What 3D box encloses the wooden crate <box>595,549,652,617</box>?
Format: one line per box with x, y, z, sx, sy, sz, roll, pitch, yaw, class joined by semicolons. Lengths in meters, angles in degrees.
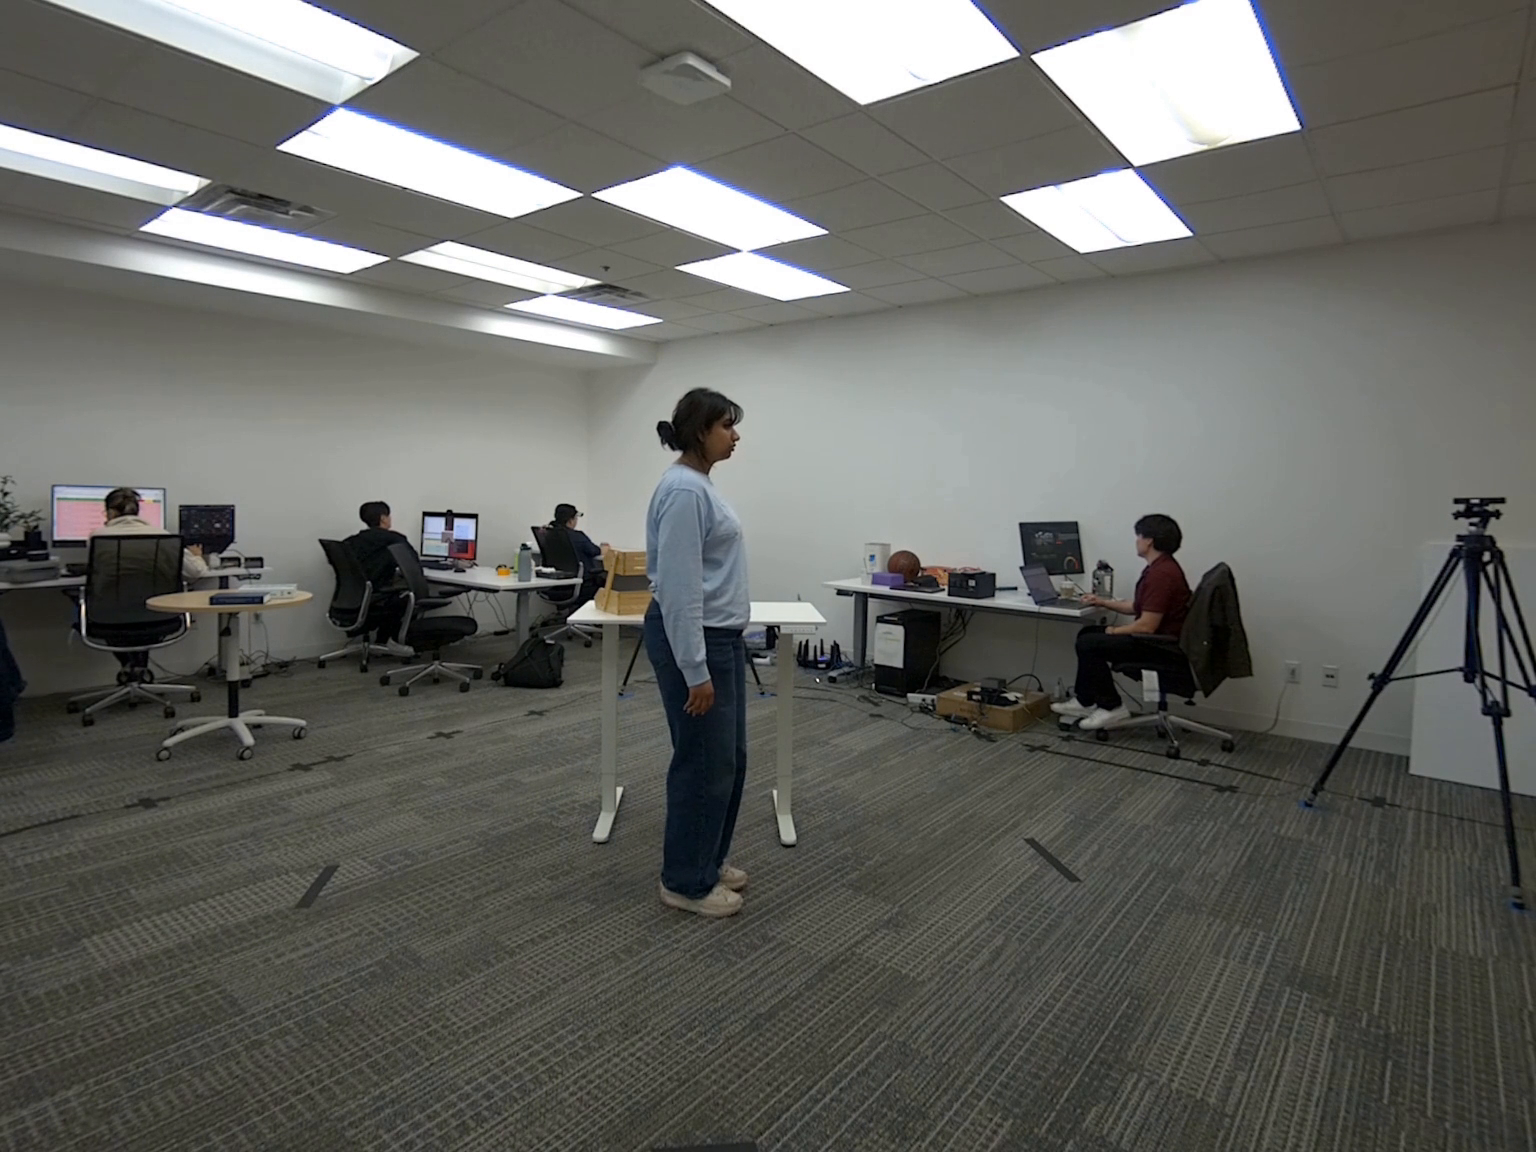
-0.545;0.009;3.553;0.315;0.272;0.311;-1;5;-32;wooden crate
